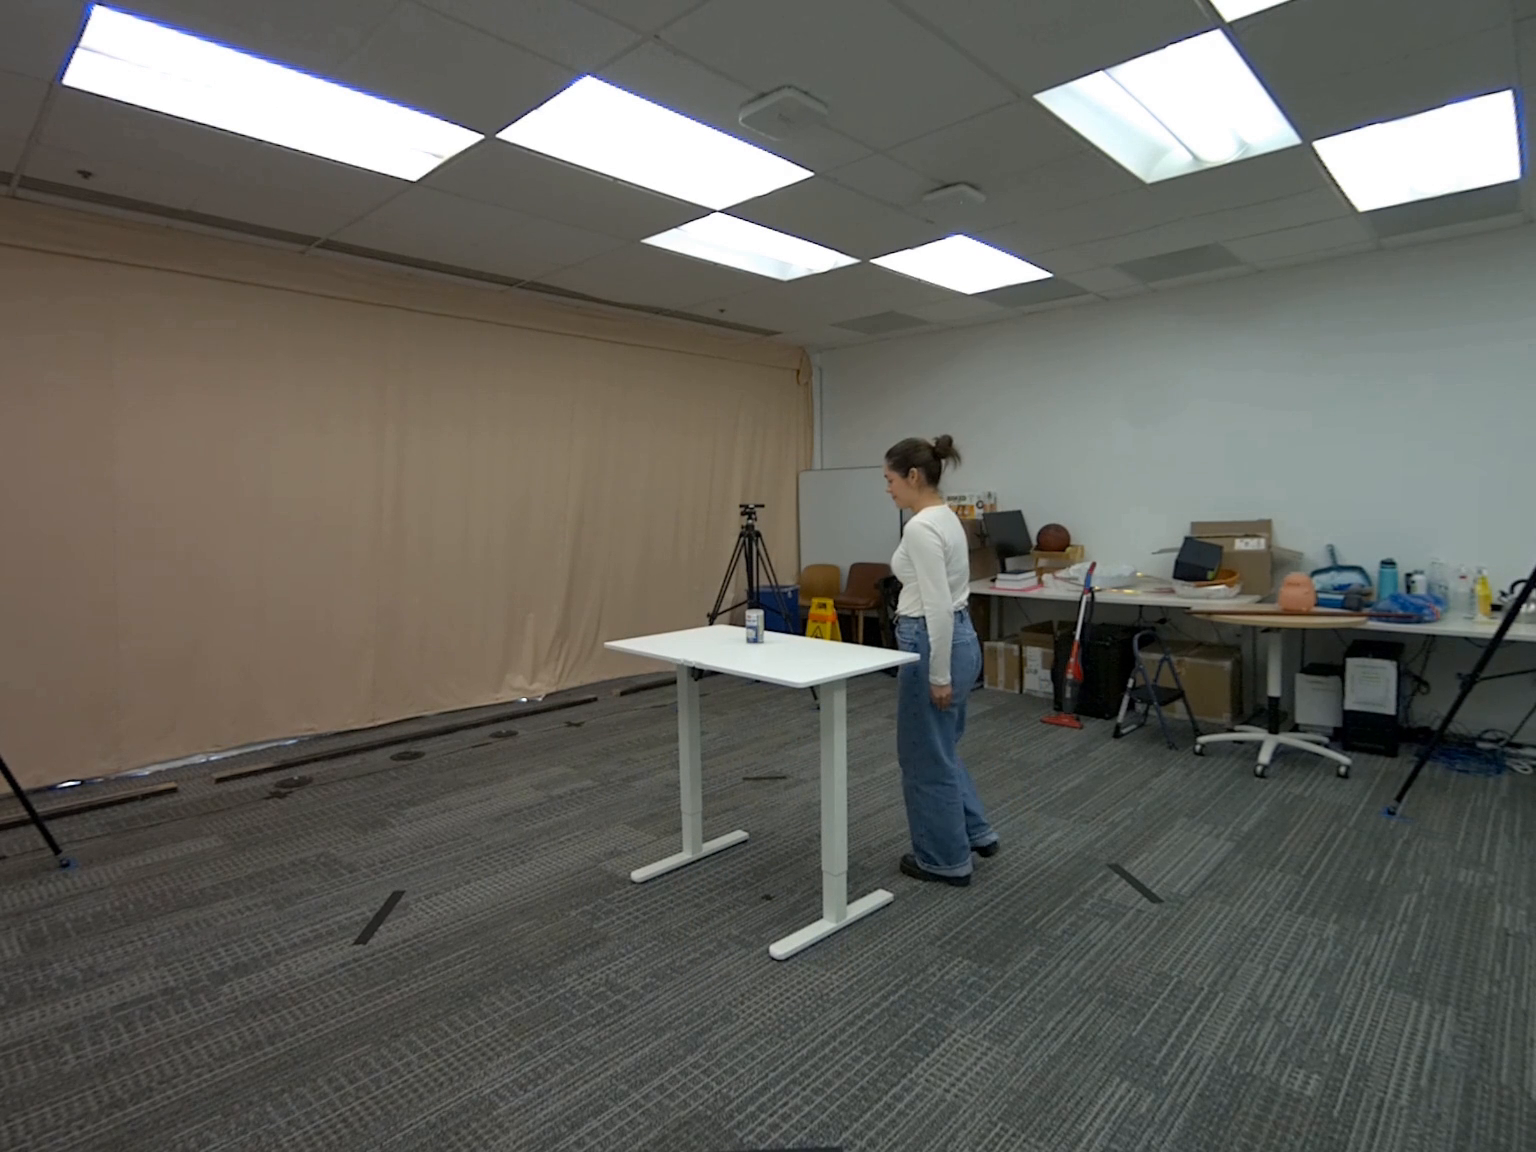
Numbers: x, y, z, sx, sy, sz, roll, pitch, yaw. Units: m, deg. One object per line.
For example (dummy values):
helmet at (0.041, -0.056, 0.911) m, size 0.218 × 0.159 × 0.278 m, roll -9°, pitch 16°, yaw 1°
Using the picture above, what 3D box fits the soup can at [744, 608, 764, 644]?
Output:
soup can at (-0.042, 0.191, 3.111) m, size 0.067 × 0.121 × 0.067 m, roll -1°, pitch 5°, yaw -2°
